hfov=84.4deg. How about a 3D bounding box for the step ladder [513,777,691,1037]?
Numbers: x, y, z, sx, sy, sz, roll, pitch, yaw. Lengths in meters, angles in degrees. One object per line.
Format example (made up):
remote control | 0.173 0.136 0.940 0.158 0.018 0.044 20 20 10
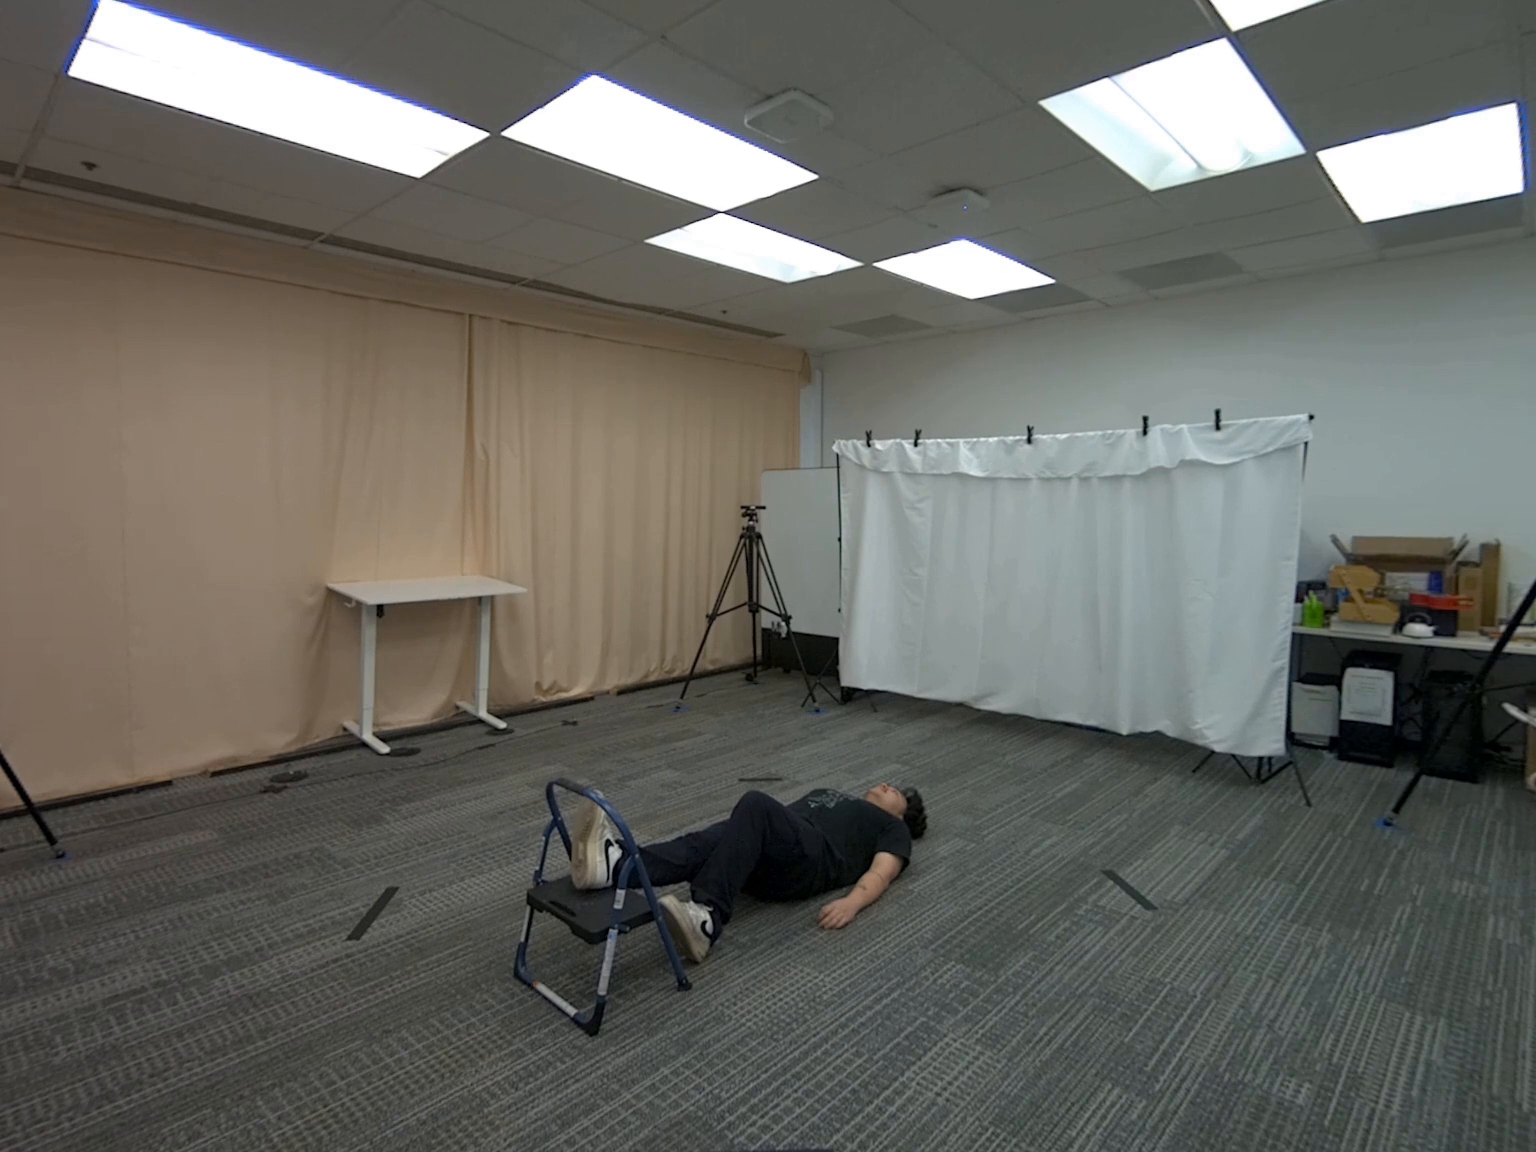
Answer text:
step ladder | -0.498 0.893 2.450 0.445 0.605 0.338 3 4 44
